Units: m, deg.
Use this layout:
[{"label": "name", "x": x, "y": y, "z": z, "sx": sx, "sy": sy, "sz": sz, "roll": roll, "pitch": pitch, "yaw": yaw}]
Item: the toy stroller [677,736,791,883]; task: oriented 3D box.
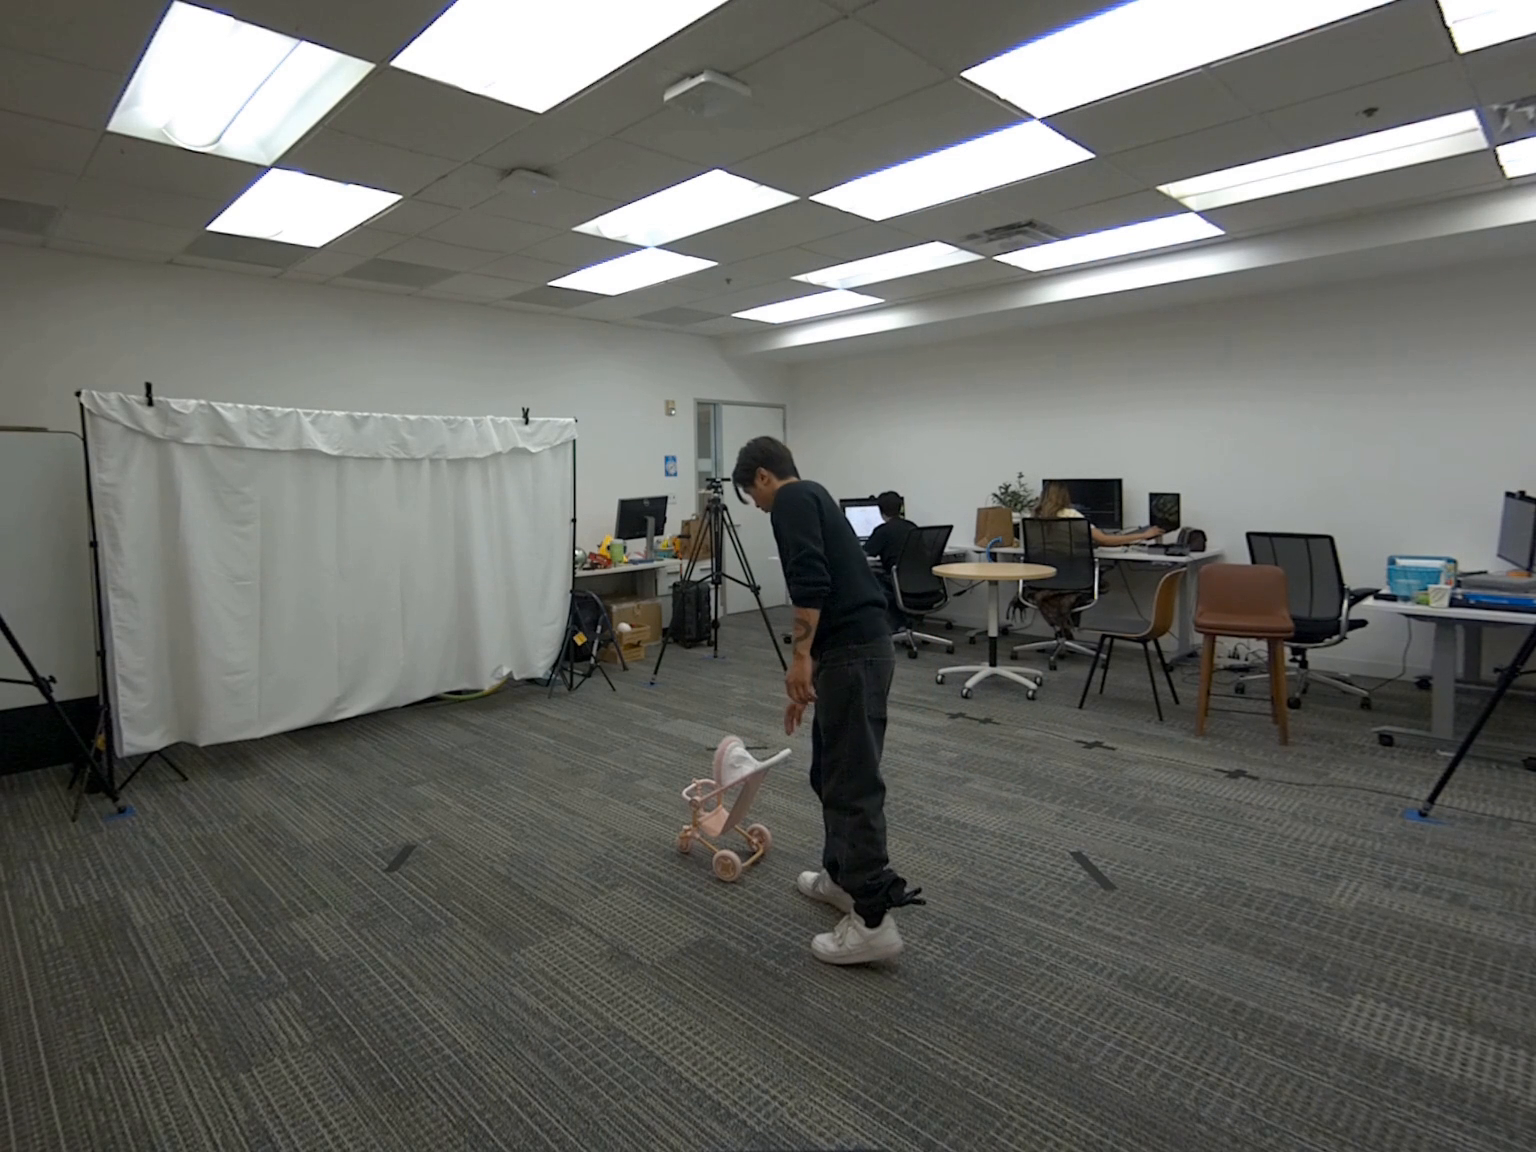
[{"label": "toy stroller", "x": -0.146, "y": 0.818, "z": 3.097, "sx": 0.352, "sy": 0.530, "sz": 0.275, "roll": 20, "pitch": 14, "yaw": 29}]
